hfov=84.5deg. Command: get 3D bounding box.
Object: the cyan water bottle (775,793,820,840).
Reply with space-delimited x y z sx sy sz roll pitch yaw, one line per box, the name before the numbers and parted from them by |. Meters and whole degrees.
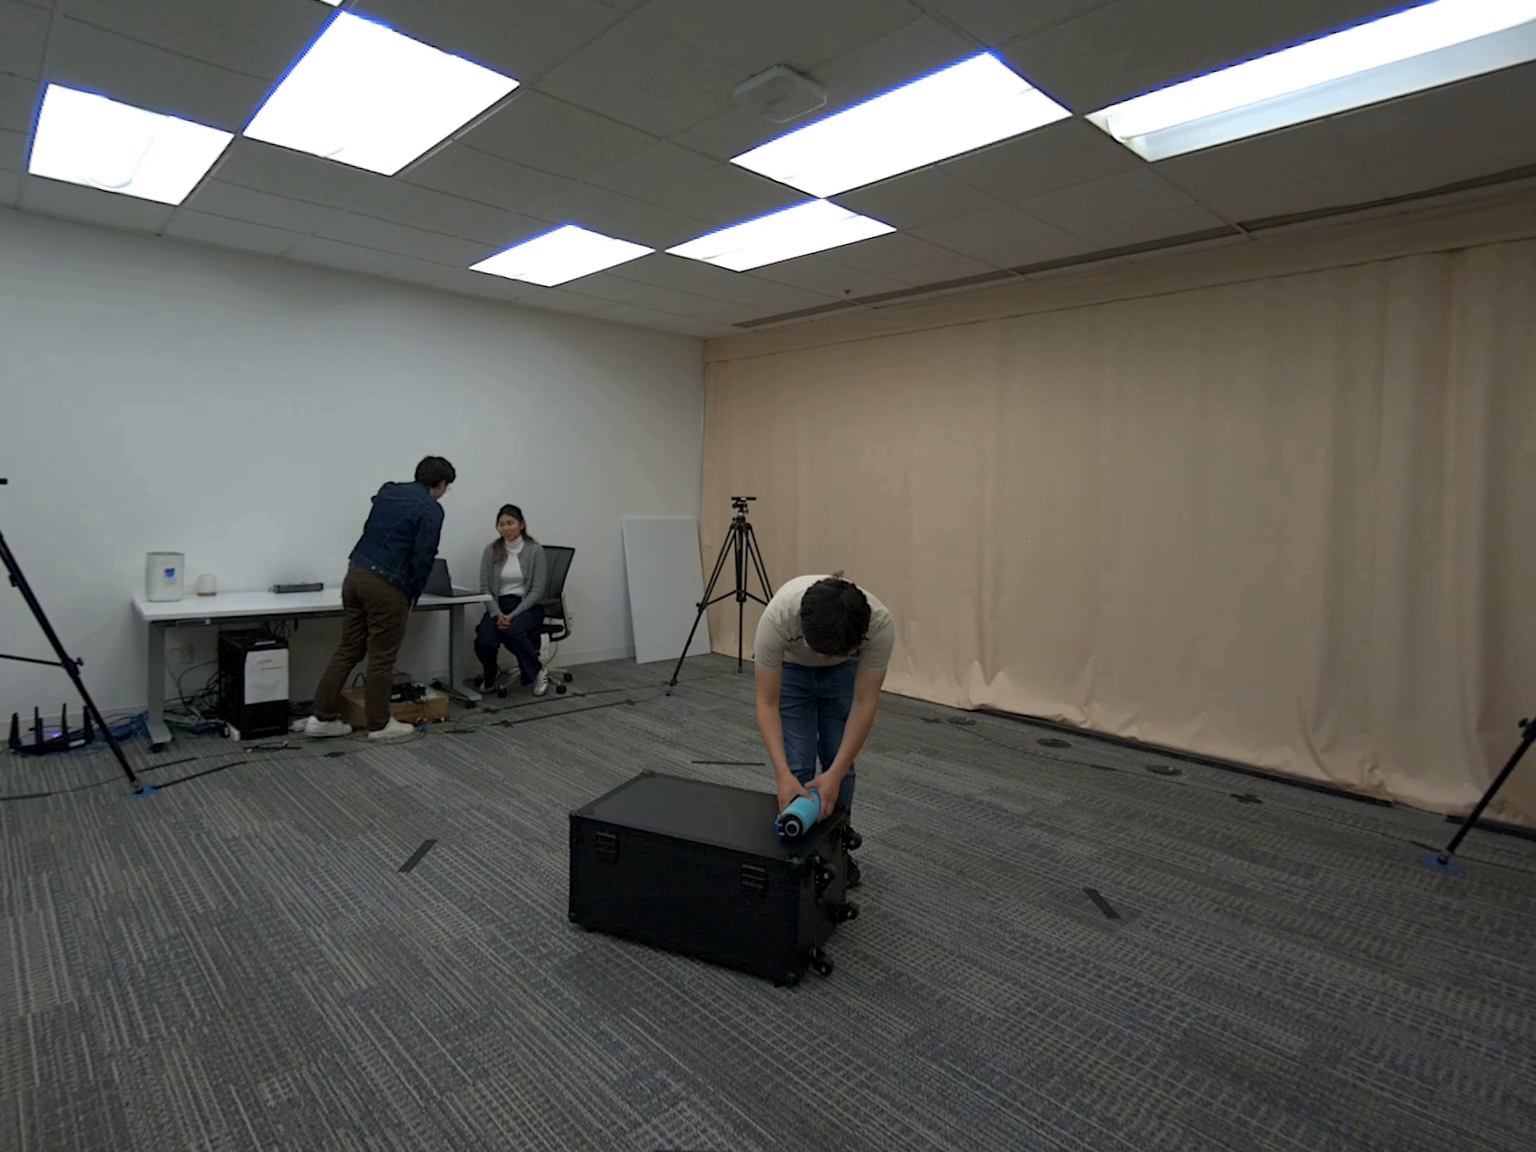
cyan water bottle | 0.090 0.741 2.606 0.094 0.092 0.280 3 5 18
